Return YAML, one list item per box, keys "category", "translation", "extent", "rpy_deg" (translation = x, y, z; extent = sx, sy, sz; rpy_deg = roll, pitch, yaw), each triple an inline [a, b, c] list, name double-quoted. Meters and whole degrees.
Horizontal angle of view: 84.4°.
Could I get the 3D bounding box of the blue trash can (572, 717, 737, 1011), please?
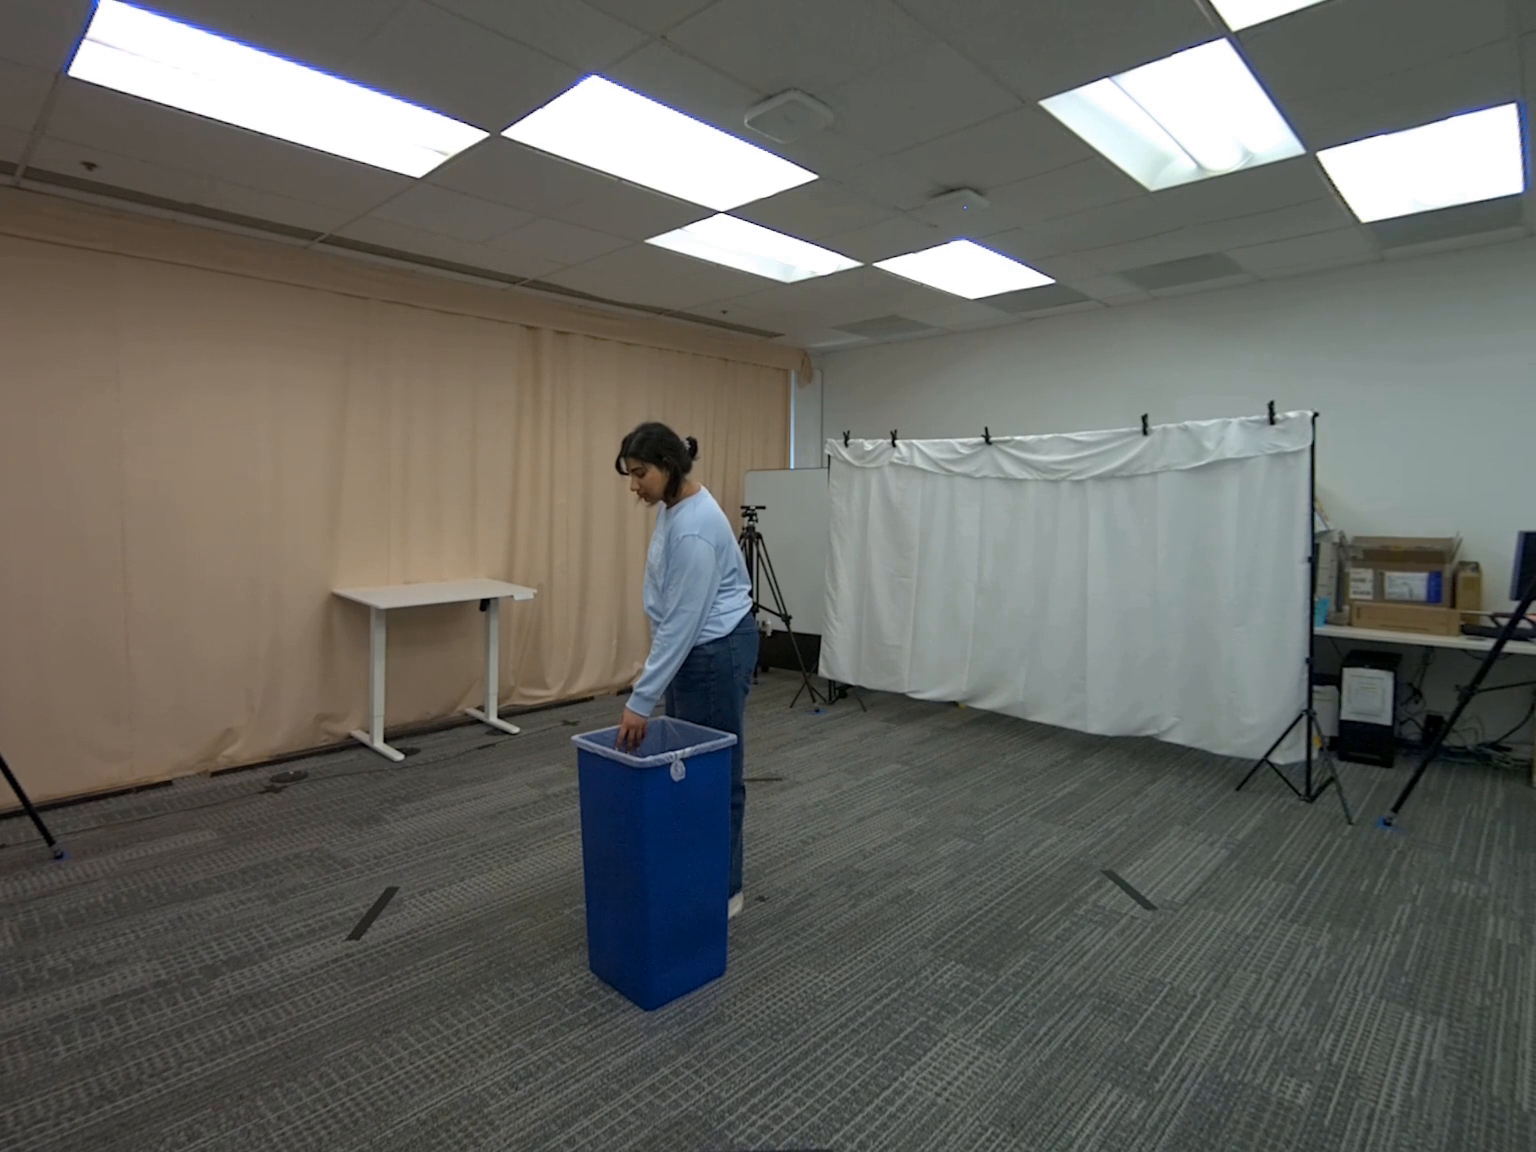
- category: "blue trash can"
  translation: [-0.339, 0.828, 2.508]
  extent: [0.366, 0.712, 0.386]
  rpy_deg: [-3, 4, -44]
